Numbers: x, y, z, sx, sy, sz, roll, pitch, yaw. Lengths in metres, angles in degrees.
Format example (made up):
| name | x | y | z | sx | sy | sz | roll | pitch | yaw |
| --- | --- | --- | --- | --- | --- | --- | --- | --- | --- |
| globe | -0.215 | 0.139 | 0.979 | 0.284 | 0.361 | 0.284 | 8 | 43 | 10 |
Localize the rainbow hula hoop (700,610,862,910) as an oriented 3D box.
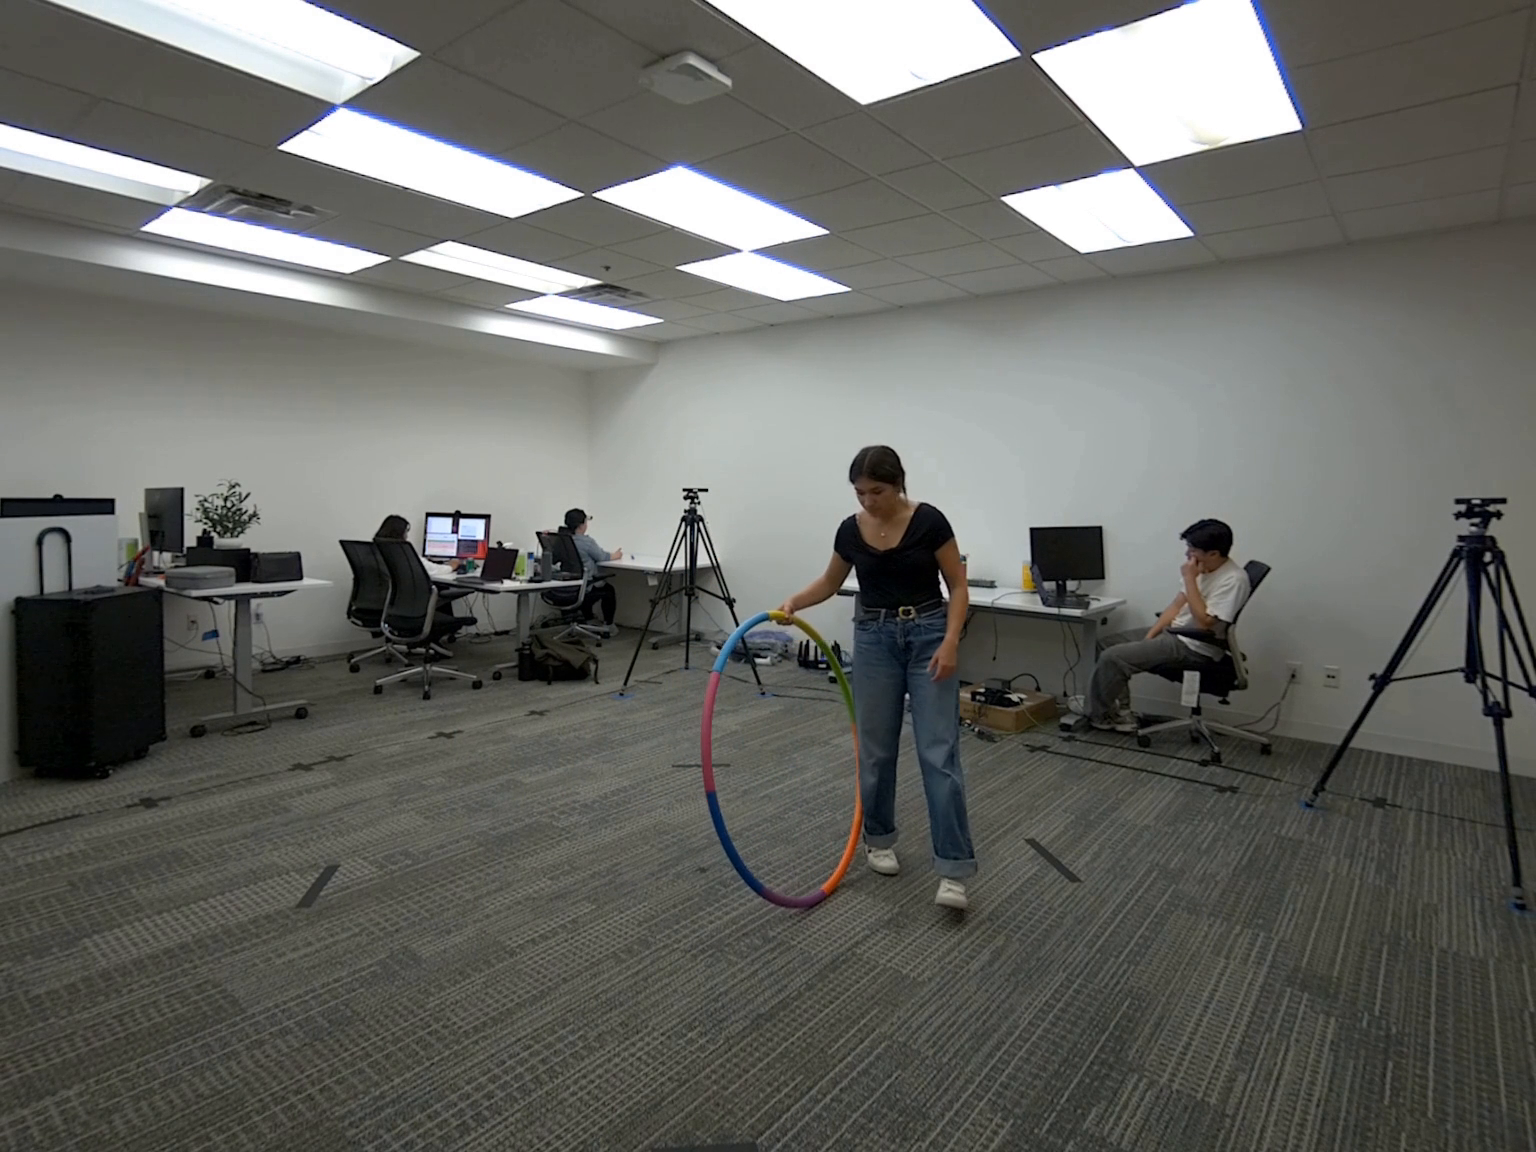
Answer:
| name | x | y | z | sx | sy | sz | roll | pitch | yaw |
| --- | --- | --- | --- | --- | --- | --- | --- | --- | --- |
| rainbow hula hoop | 0.084 | 0.607 | 2.946 | 0.036 | 0.985 | 0.952 | -15 | -6 | 34 |
